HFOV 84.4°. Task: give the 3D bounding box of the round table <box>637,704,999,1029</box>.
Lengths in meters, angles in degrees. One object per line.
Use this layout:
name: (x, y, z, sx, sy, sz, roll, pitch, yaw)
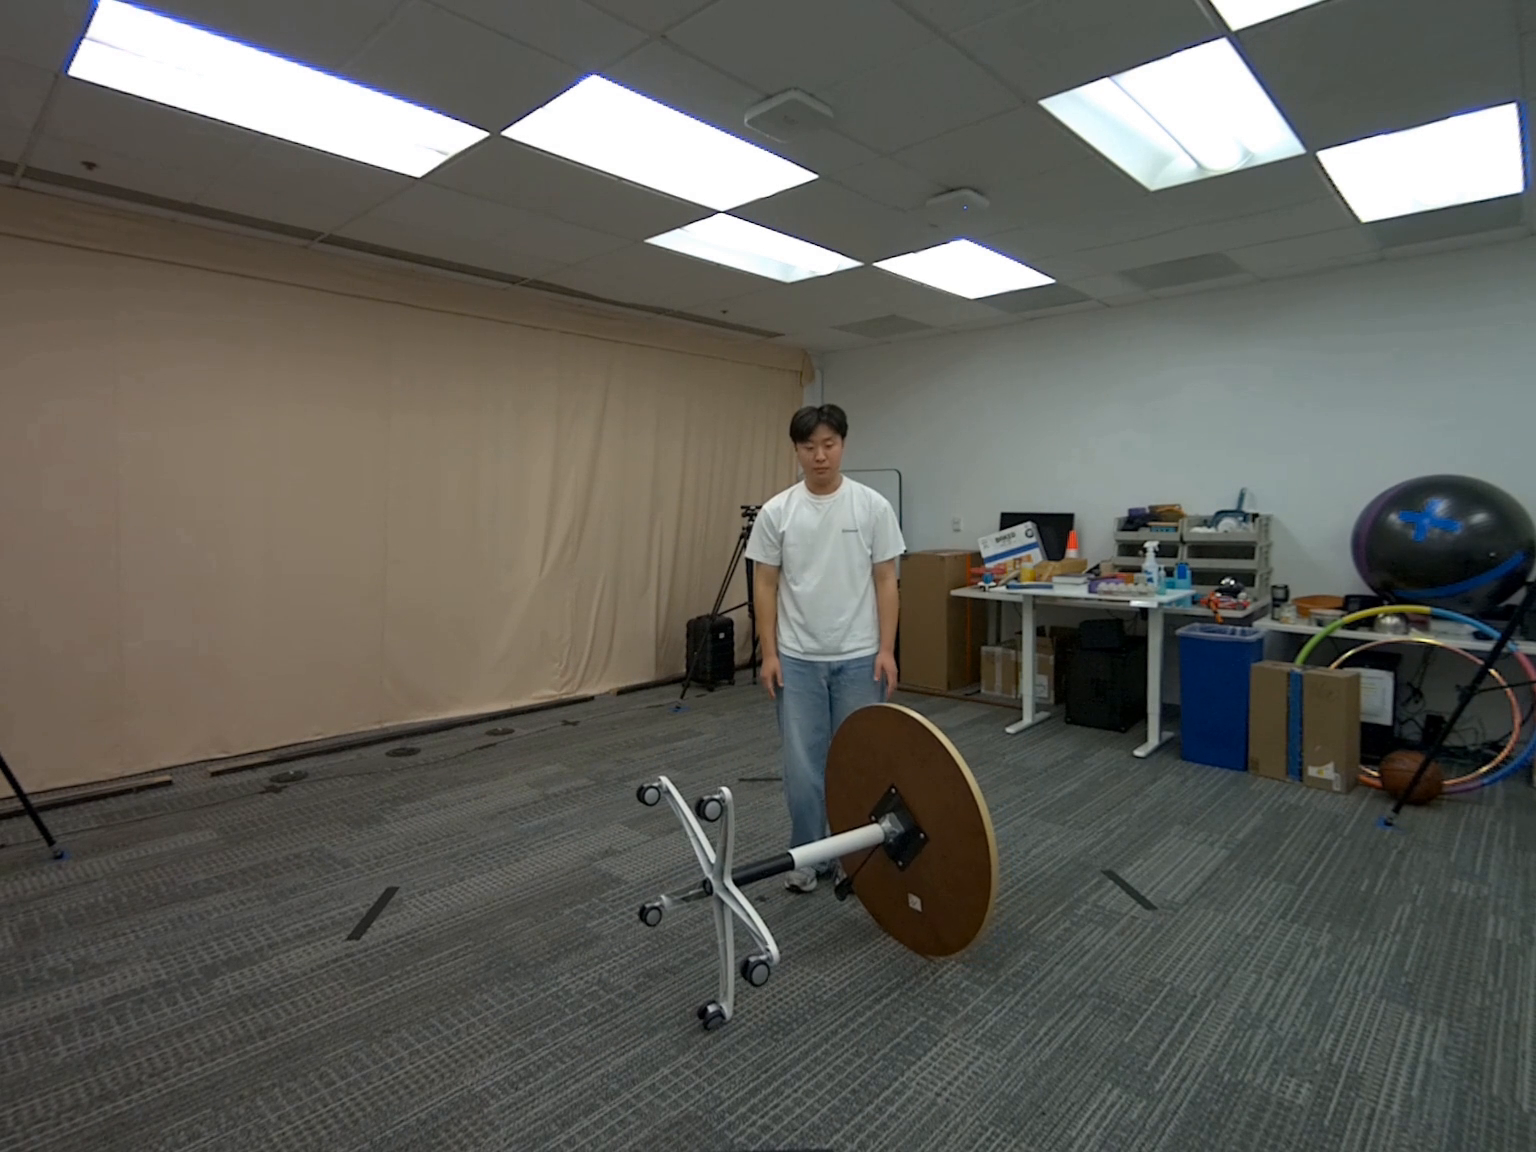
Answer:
round table: (0.102, 0.832, 2.462, 0.773, 0.761, 0.787, -6, 7, -31)
